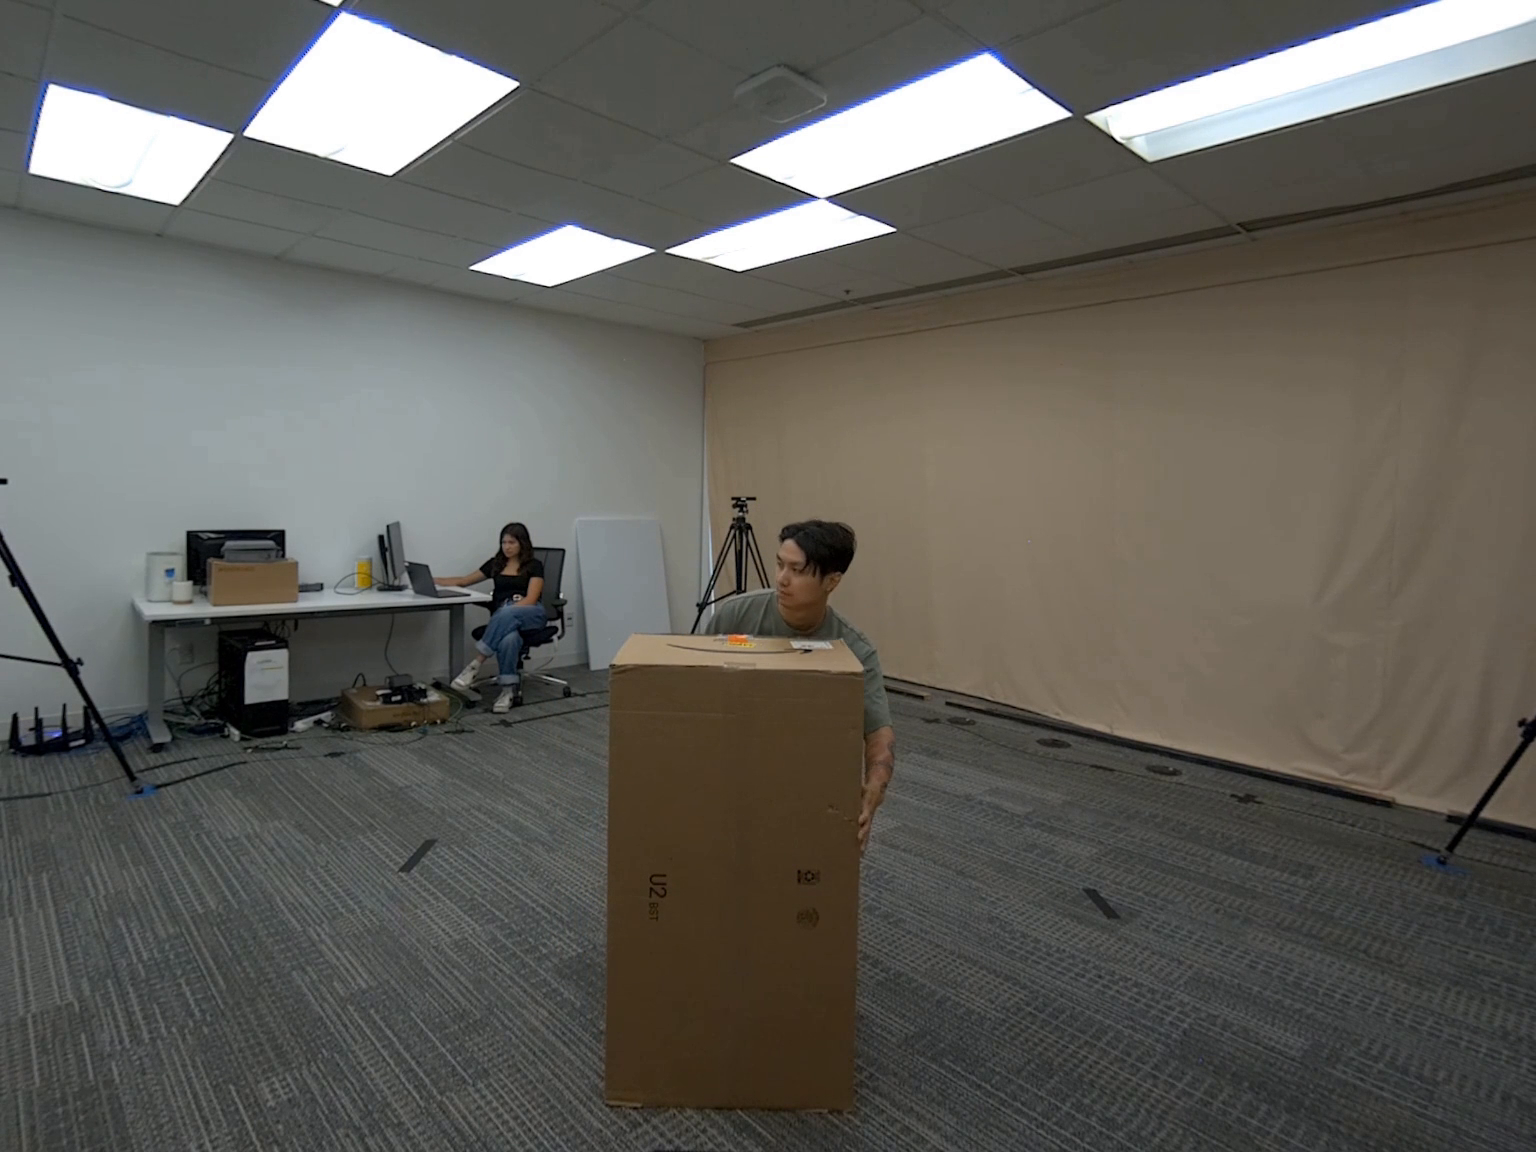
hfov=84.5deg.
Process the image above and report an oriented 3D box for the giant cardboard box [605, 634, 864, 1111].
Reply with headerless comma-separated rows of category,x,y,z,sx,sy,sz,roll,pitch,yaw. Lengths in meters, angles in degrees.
giant cardboard box,-0.091,0.692,2.101,0.577,1.023,0.427,1,3,-1
